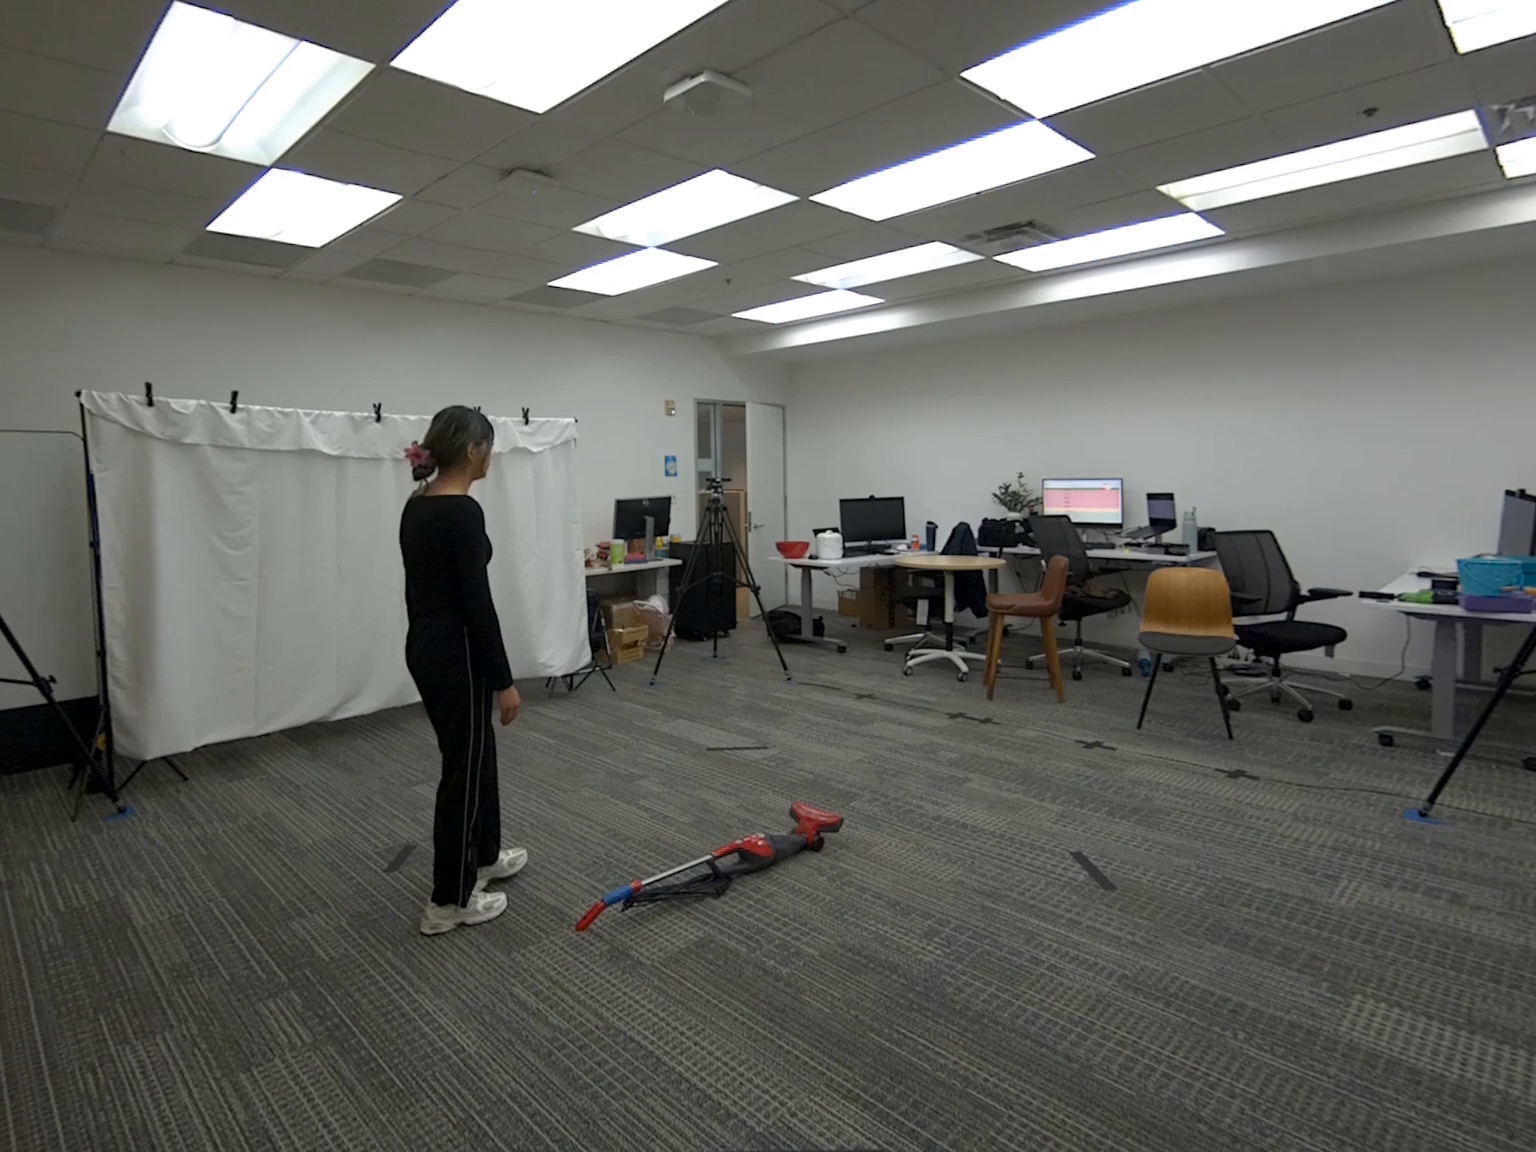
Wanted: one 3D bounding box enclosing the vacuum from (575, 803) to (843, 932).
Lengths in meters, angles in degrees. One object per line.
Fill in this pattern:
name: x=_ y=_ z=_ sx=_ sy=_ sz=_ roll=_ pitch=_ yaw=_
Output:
vacuum: x=-0.189 y=1.012 z=2.919 sx=1.023 sy=0.143 sz=0.260 roll=-9 pitch=7 yaw=-43
